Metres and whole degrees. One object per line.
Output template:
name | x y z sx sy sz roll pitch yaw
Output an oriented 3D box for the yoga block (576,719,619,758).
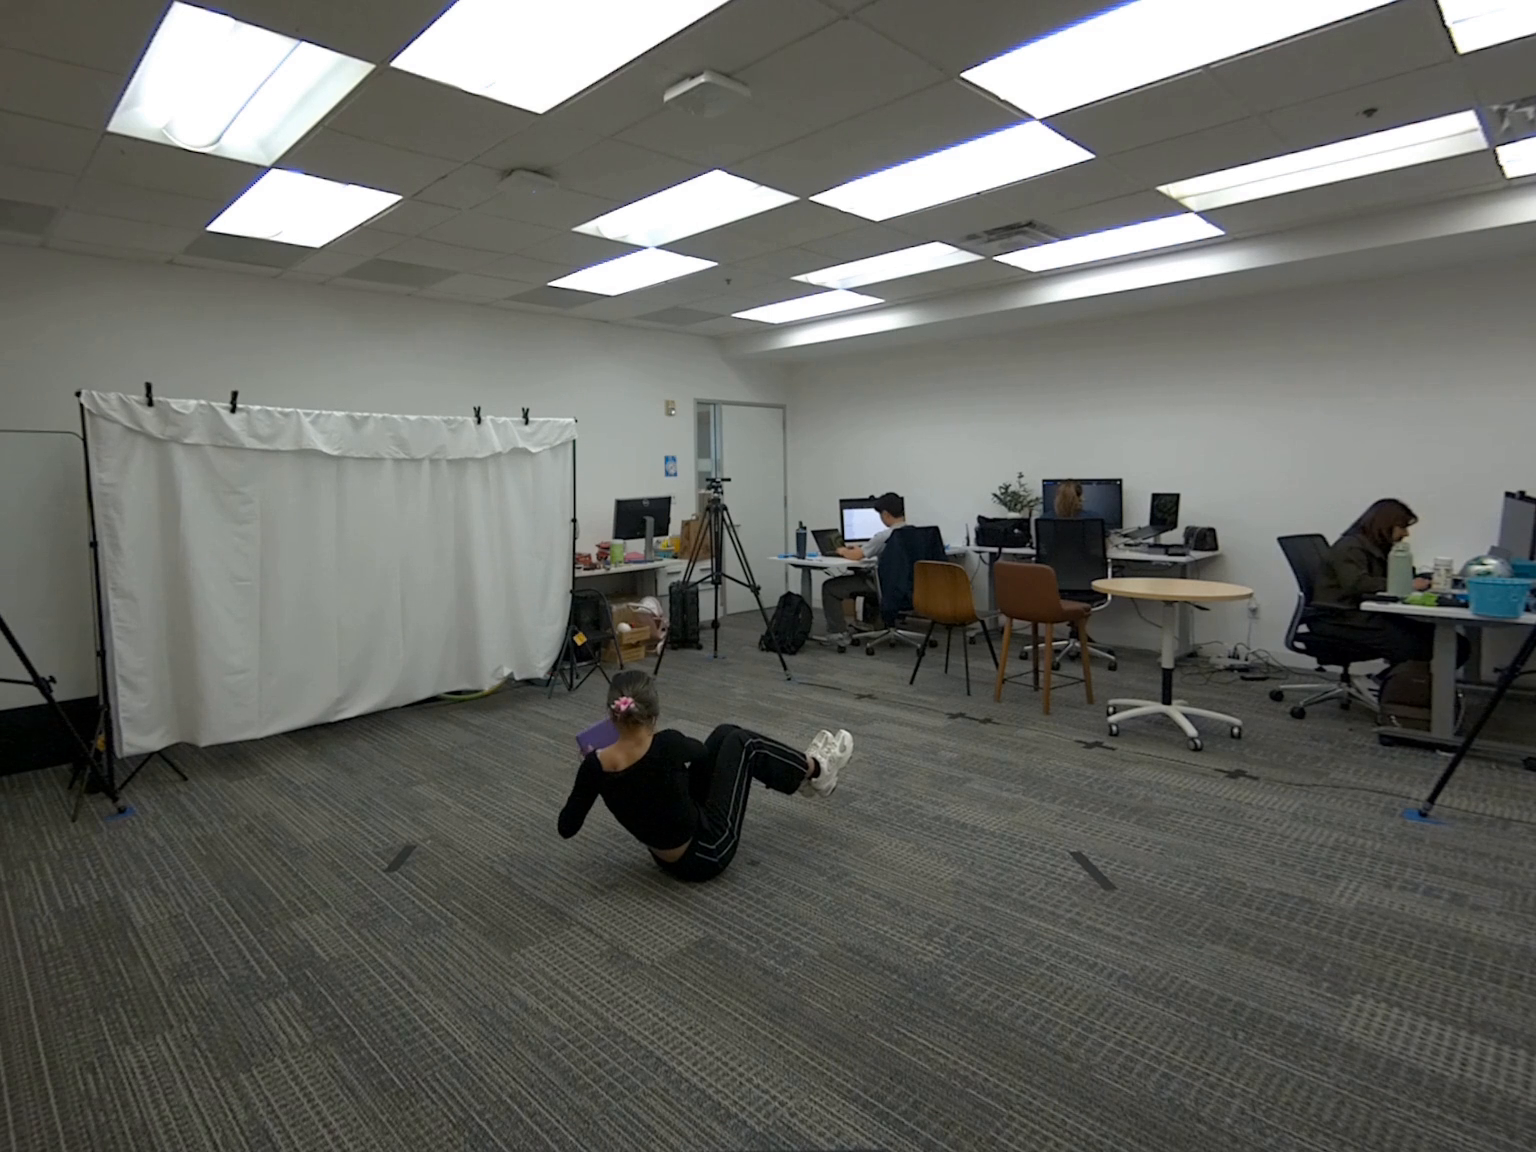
yoga block | -0.593 0.622 3.260 0.228 0.151 0.076 -24 -10 -8
